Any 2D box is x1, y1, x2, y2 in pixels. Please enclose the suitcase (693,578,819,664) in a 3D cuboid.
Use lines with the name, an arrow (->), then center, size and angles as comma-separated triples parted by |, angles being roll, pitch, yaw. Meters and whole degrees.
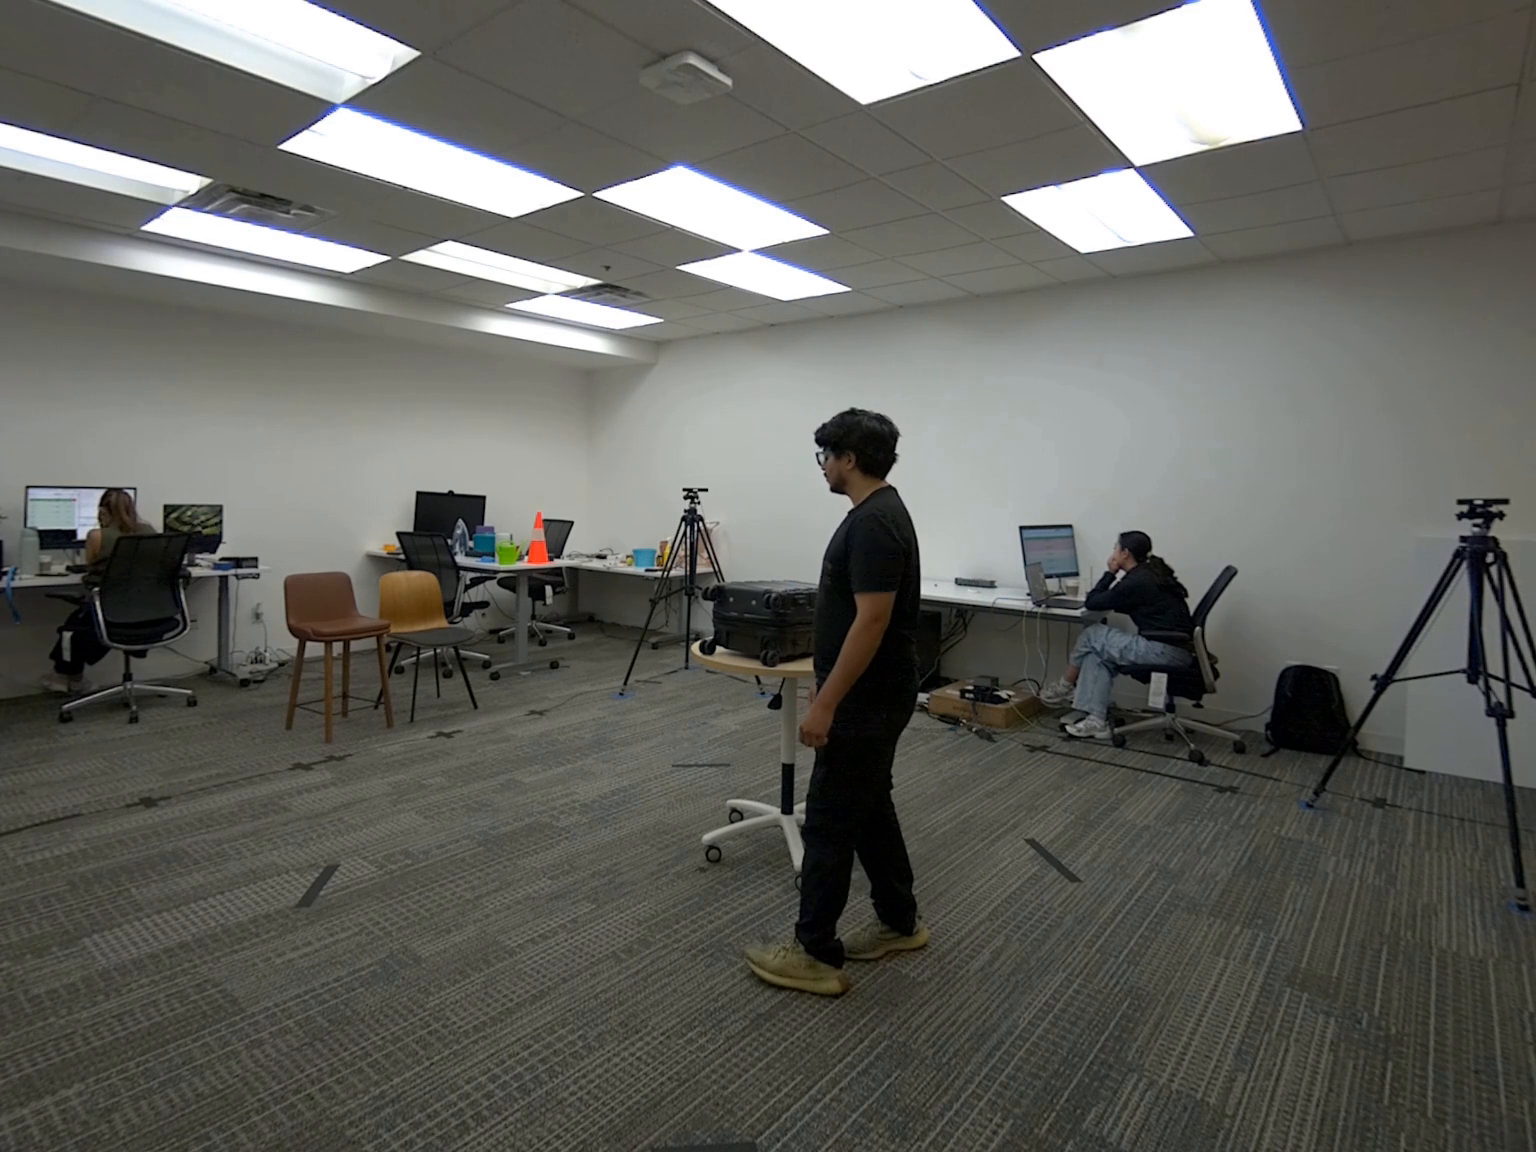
suitcase -> 0.039, 0.155, 3.229 | 0.388, 0.248, 0.532 | 5, 4, 38
